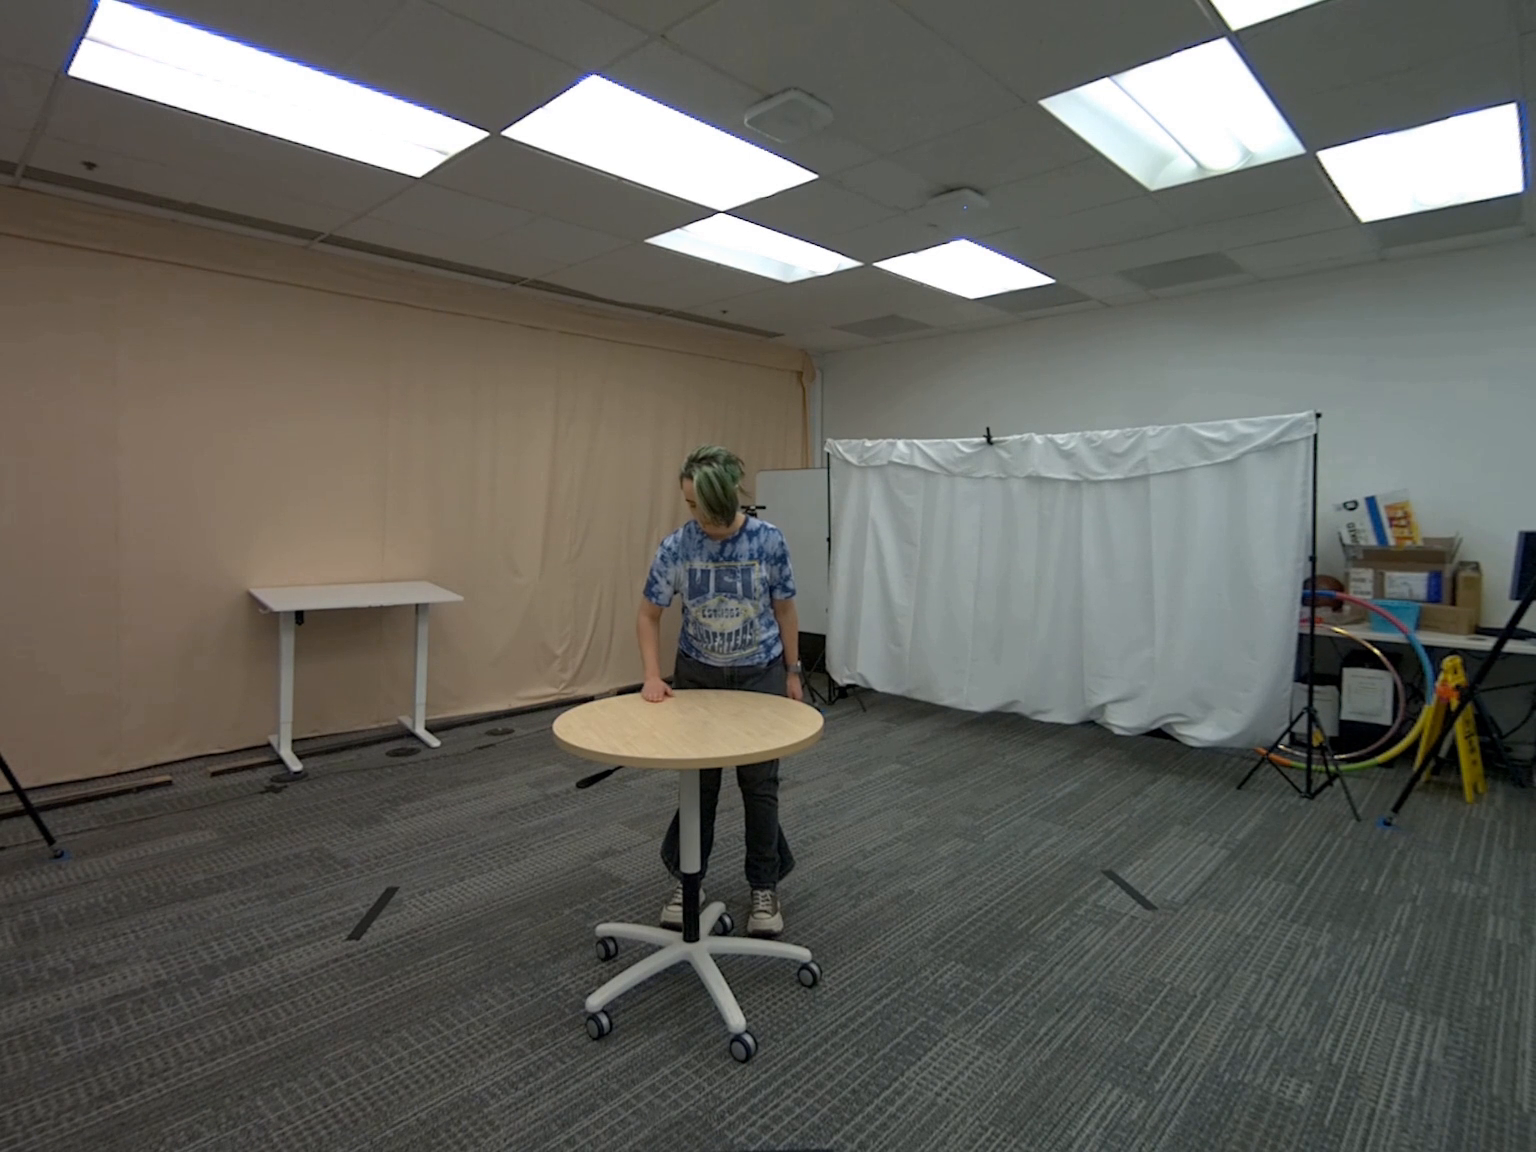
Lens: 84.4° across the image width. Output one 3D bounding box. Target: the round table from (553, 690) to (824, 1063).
[{"bbox_3d":[-0.232,0.795,2.435,0.784,0.785,0.788,-1,4,-2],"label":"round table"}]
